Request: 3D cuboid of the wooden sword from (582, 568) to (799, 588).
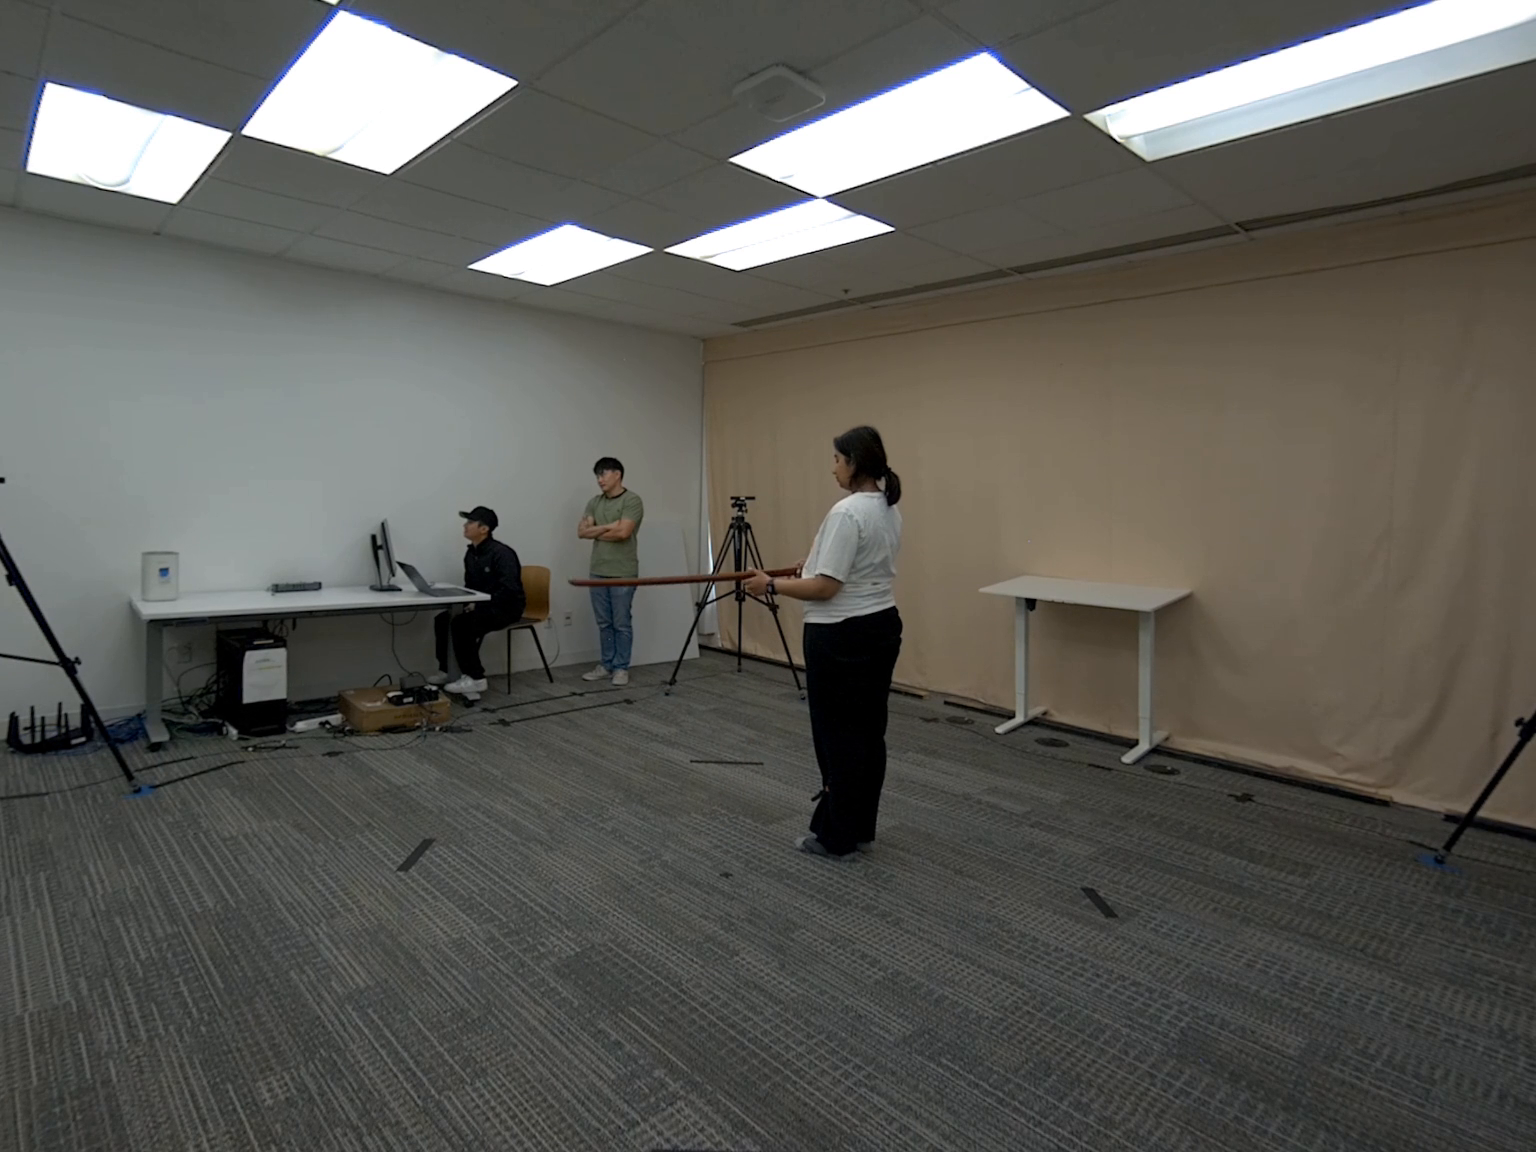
[{"bbox_3d":[-0.210,0.027,3.469,1.019,0.025,0.050,-5,-41,-7],"label":"wooden sword"}]
